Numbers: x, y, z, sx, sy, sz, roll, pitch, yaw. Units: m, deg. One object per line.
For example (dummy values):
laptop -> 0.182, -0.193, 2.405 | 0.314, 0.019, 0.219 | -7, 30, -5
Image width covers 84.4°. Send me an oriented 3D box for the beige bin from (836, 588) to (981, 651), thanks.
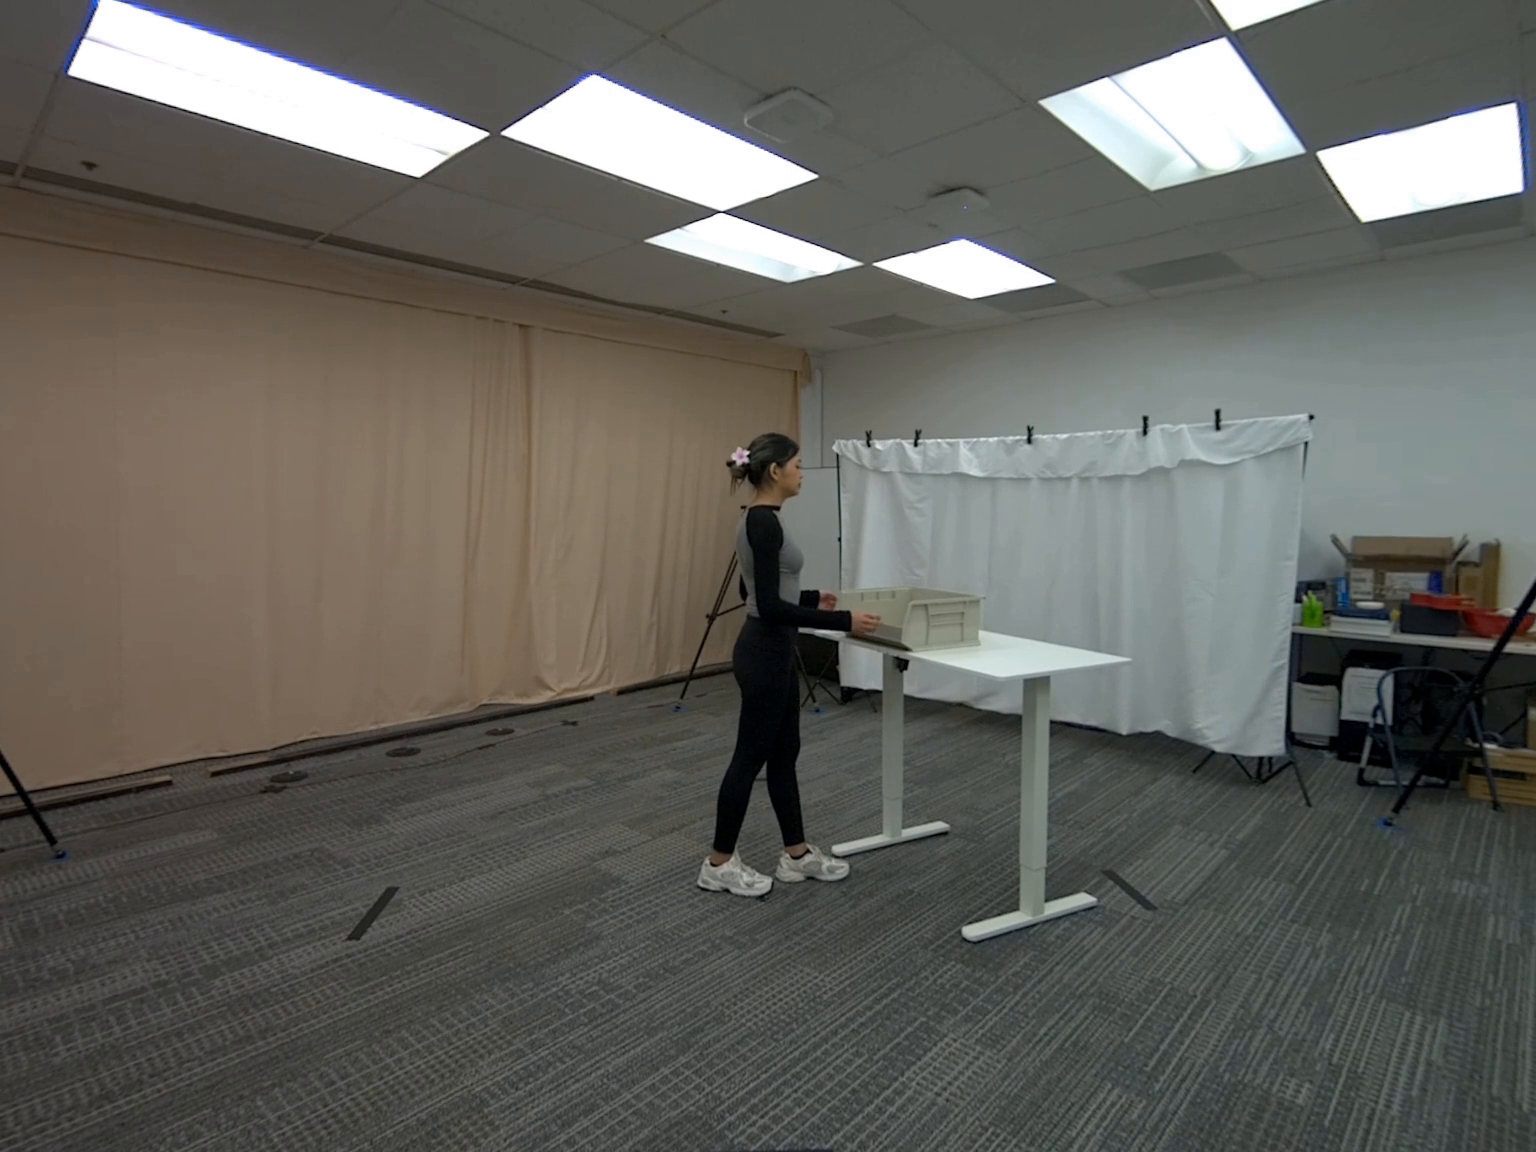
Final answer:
beige bin -> 0.518, 0.156, 3.155 | 0.368, 0.188, 0.434 | -1, 5, -28
